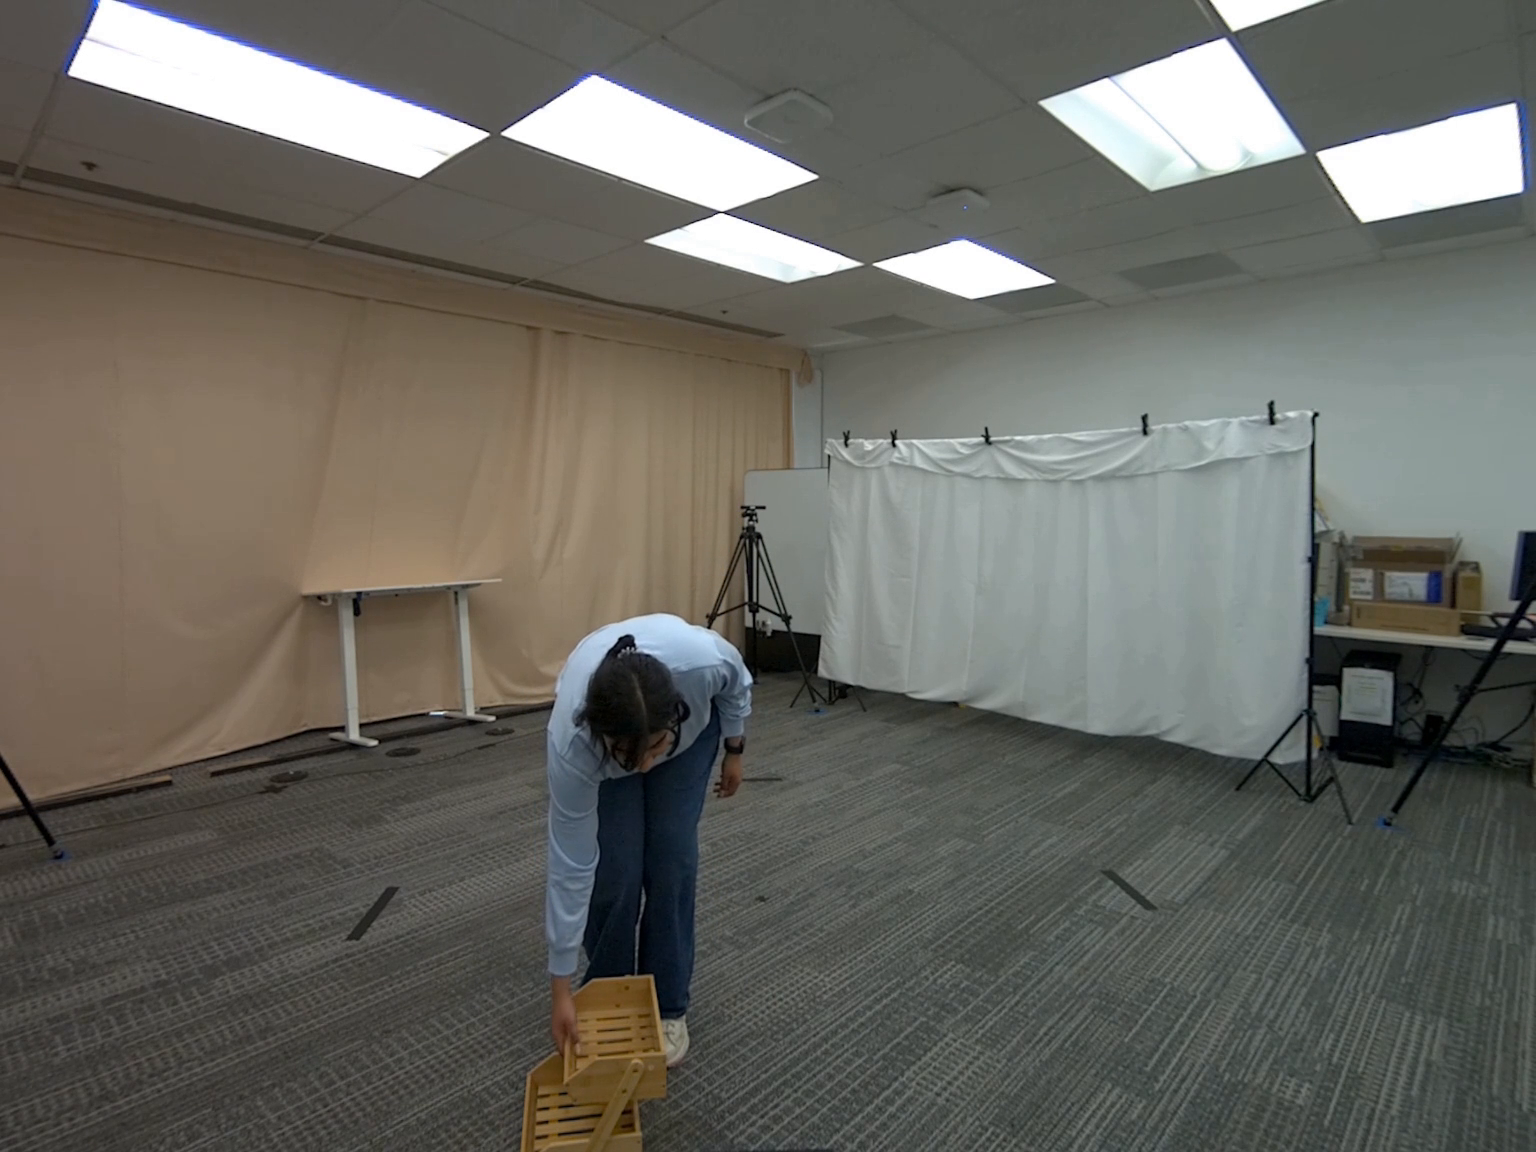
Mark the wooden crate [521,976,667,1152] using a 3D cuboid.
[{"bbox_3d":[-0.395,1.103,1.870,0.298,0.273,0.329,0,4,-11],"label":"wooden crate"}]
